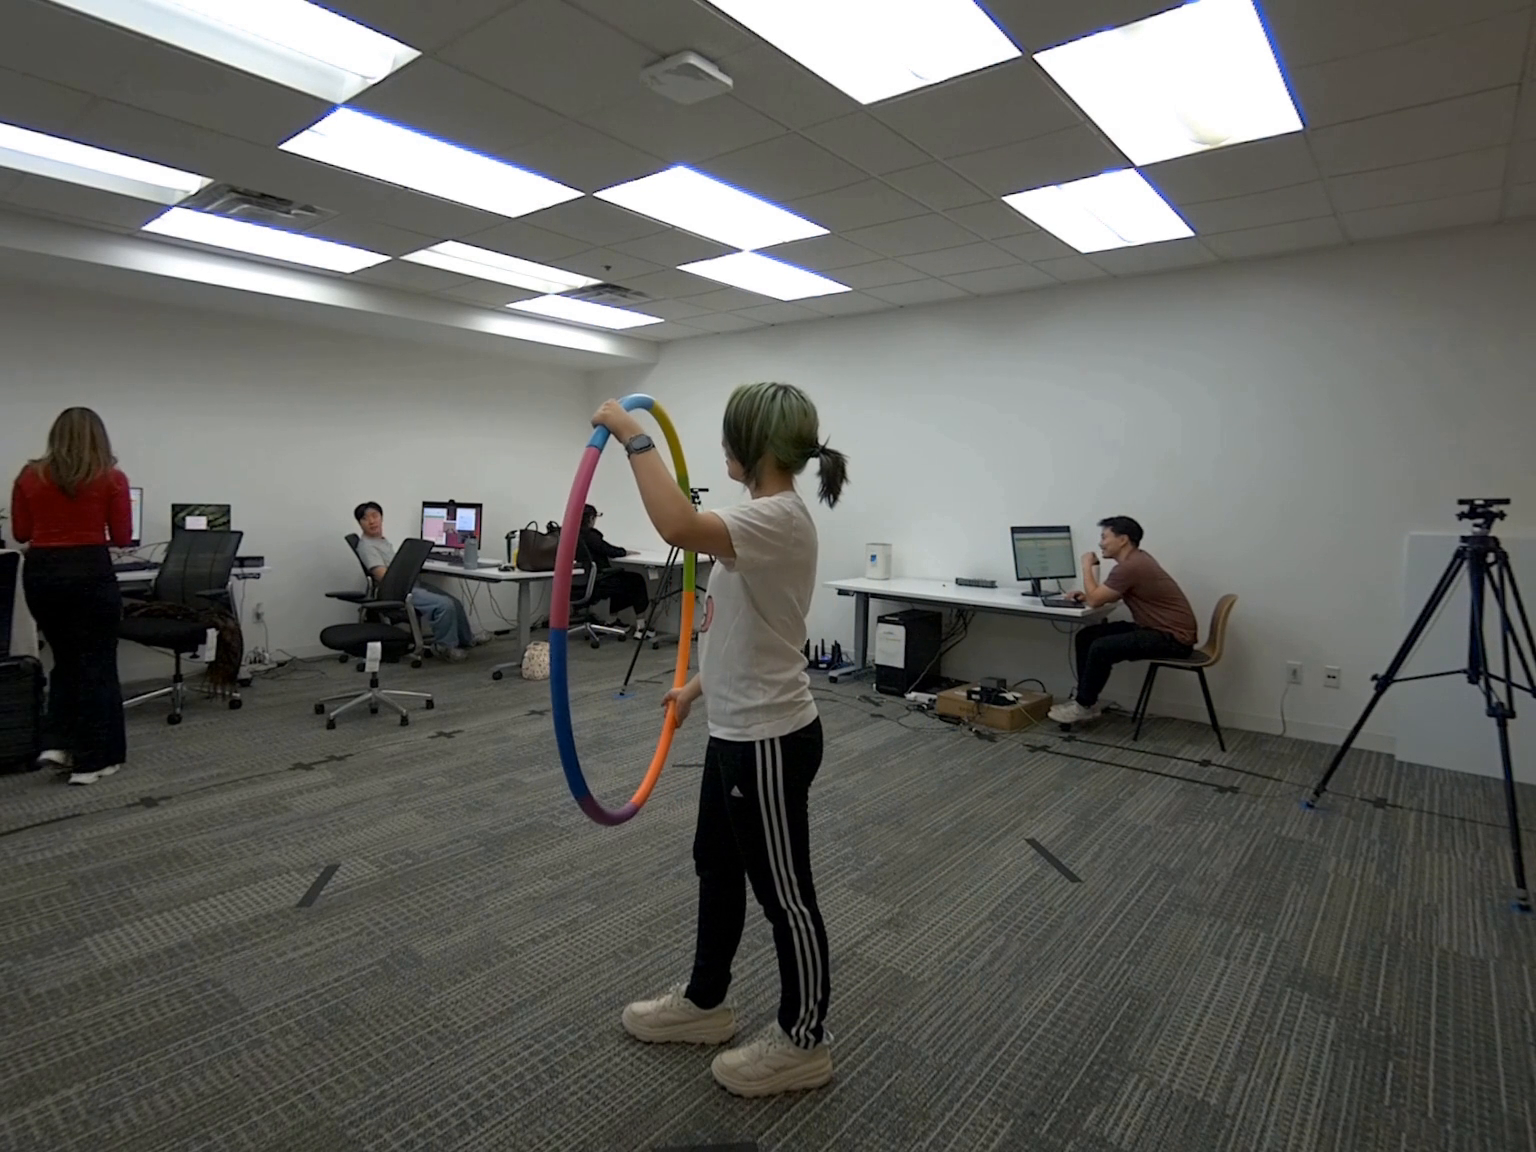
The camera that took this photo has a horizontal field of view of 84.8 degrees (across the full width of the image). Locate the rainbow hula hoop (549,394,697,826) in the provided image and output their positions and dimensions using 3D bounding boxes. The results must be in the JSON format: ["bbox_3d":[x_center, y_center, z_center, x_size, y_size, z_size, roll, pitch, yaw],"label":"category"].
[{"bbox_3d":[-0.309,0.071,2.013,0.036,0.976,0.970,2,4,10],"label":"rainbow hula hoop"}]
